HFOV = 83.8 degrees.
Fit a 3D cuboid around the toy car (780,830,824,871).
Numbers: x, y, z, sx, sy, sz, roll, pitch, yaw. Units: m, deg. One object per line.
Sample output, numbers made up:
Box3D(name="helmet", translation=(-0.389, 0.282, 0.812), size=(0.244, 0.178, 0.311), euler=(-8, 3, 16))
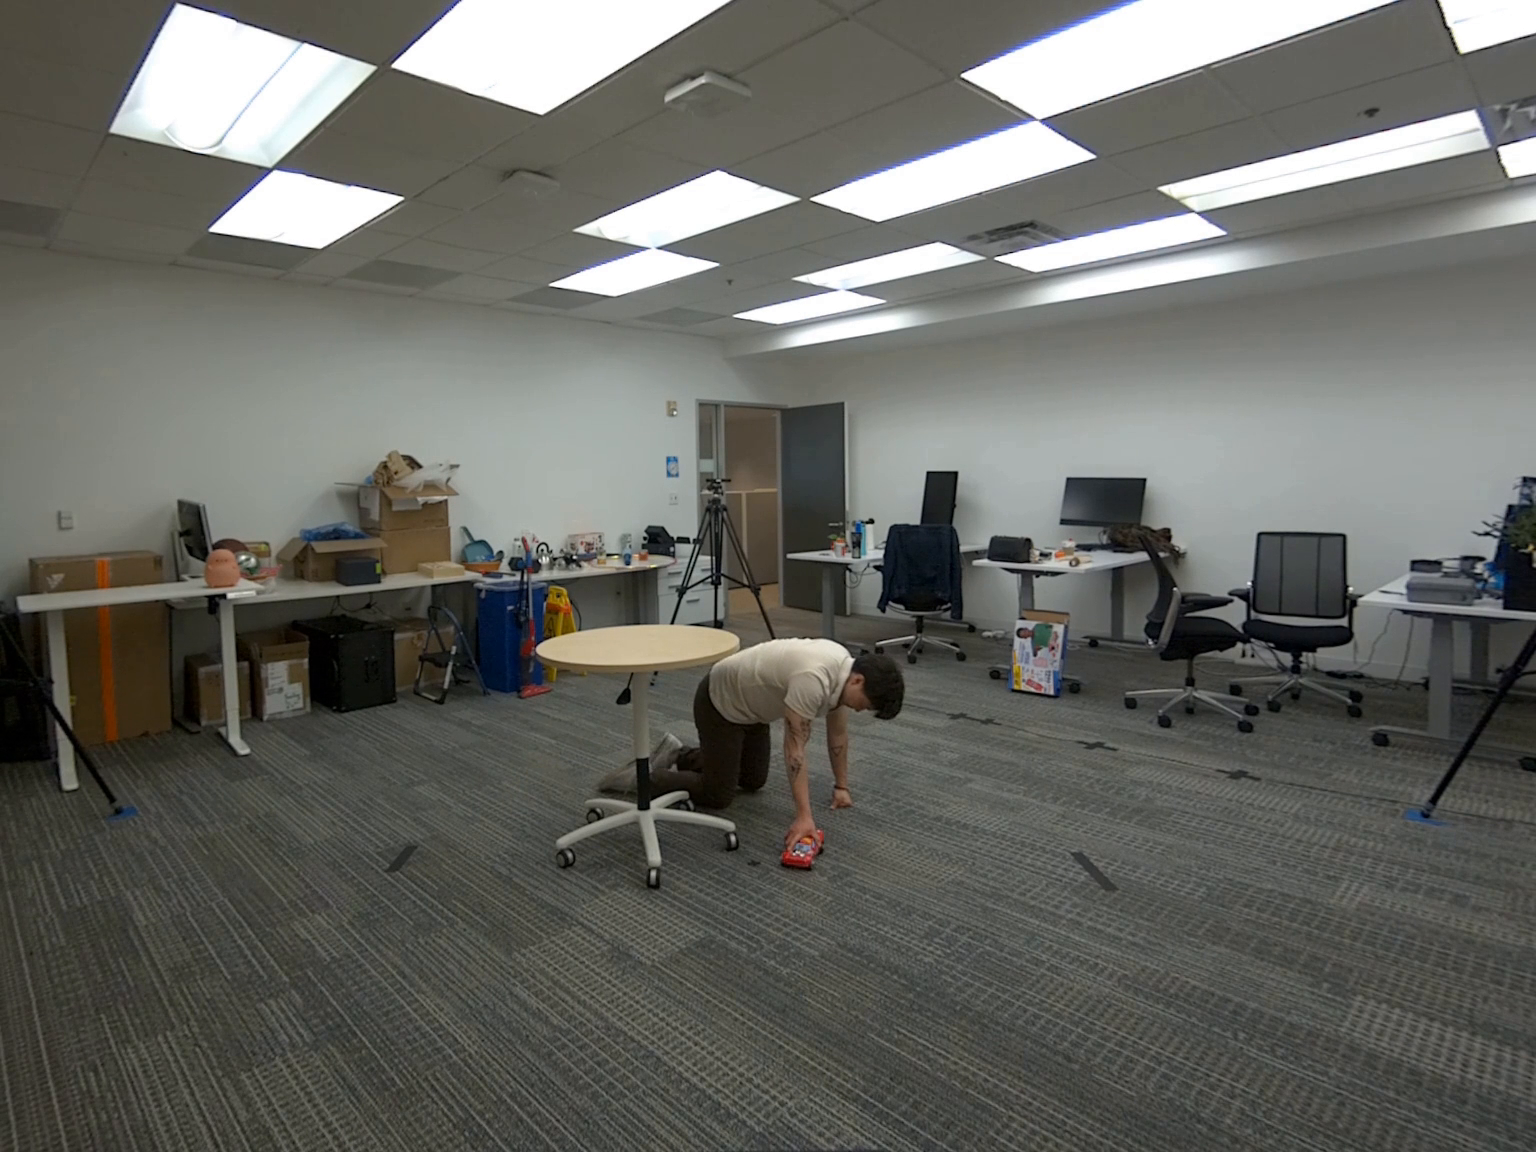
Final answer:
Box3D(name="toy car", translation=(0.145, 1.007, 3.161), size=(0.133, 0.082, 0.253), euler=(1, 17, 20))
